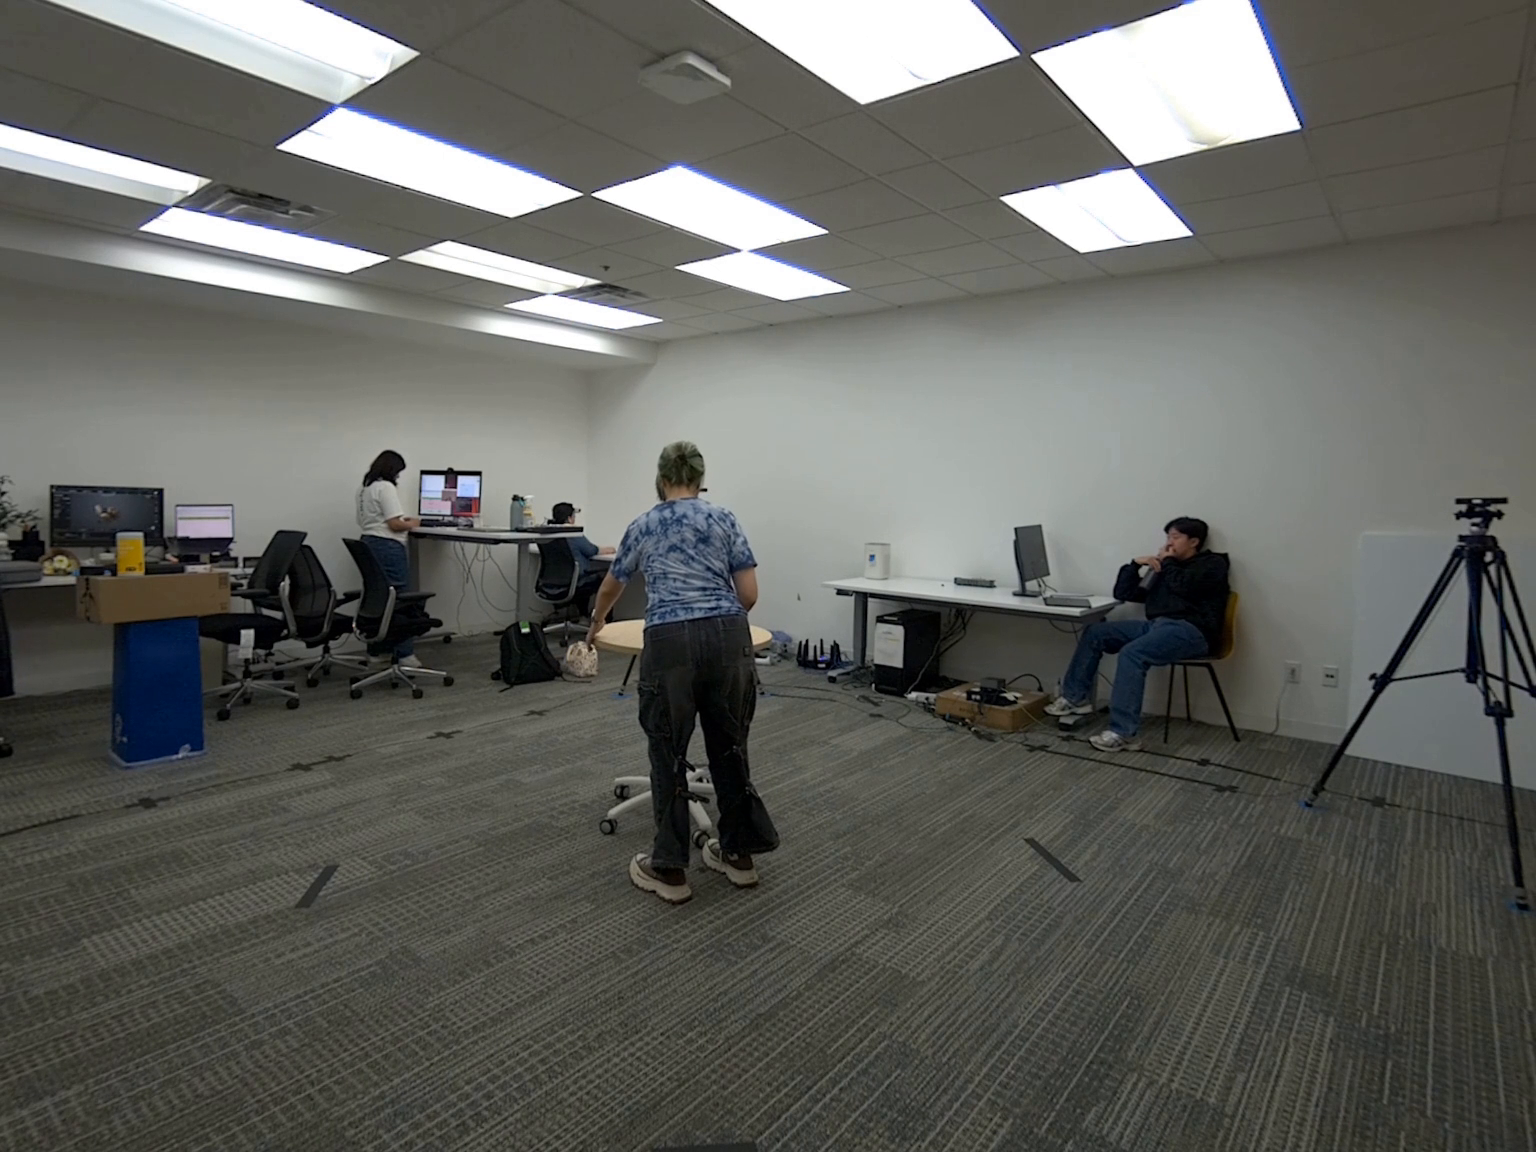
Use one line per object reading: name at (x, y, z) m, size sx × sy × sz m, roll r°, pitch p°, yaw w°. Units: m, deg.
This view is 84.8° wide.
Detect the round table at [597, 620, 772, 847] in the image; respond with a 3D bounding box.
round table at (-0.380, 0.629, 3.606) m, size 0.763 × 0.791 × 0.768 m, roll 1°, pitch 4°, yaw -2°
